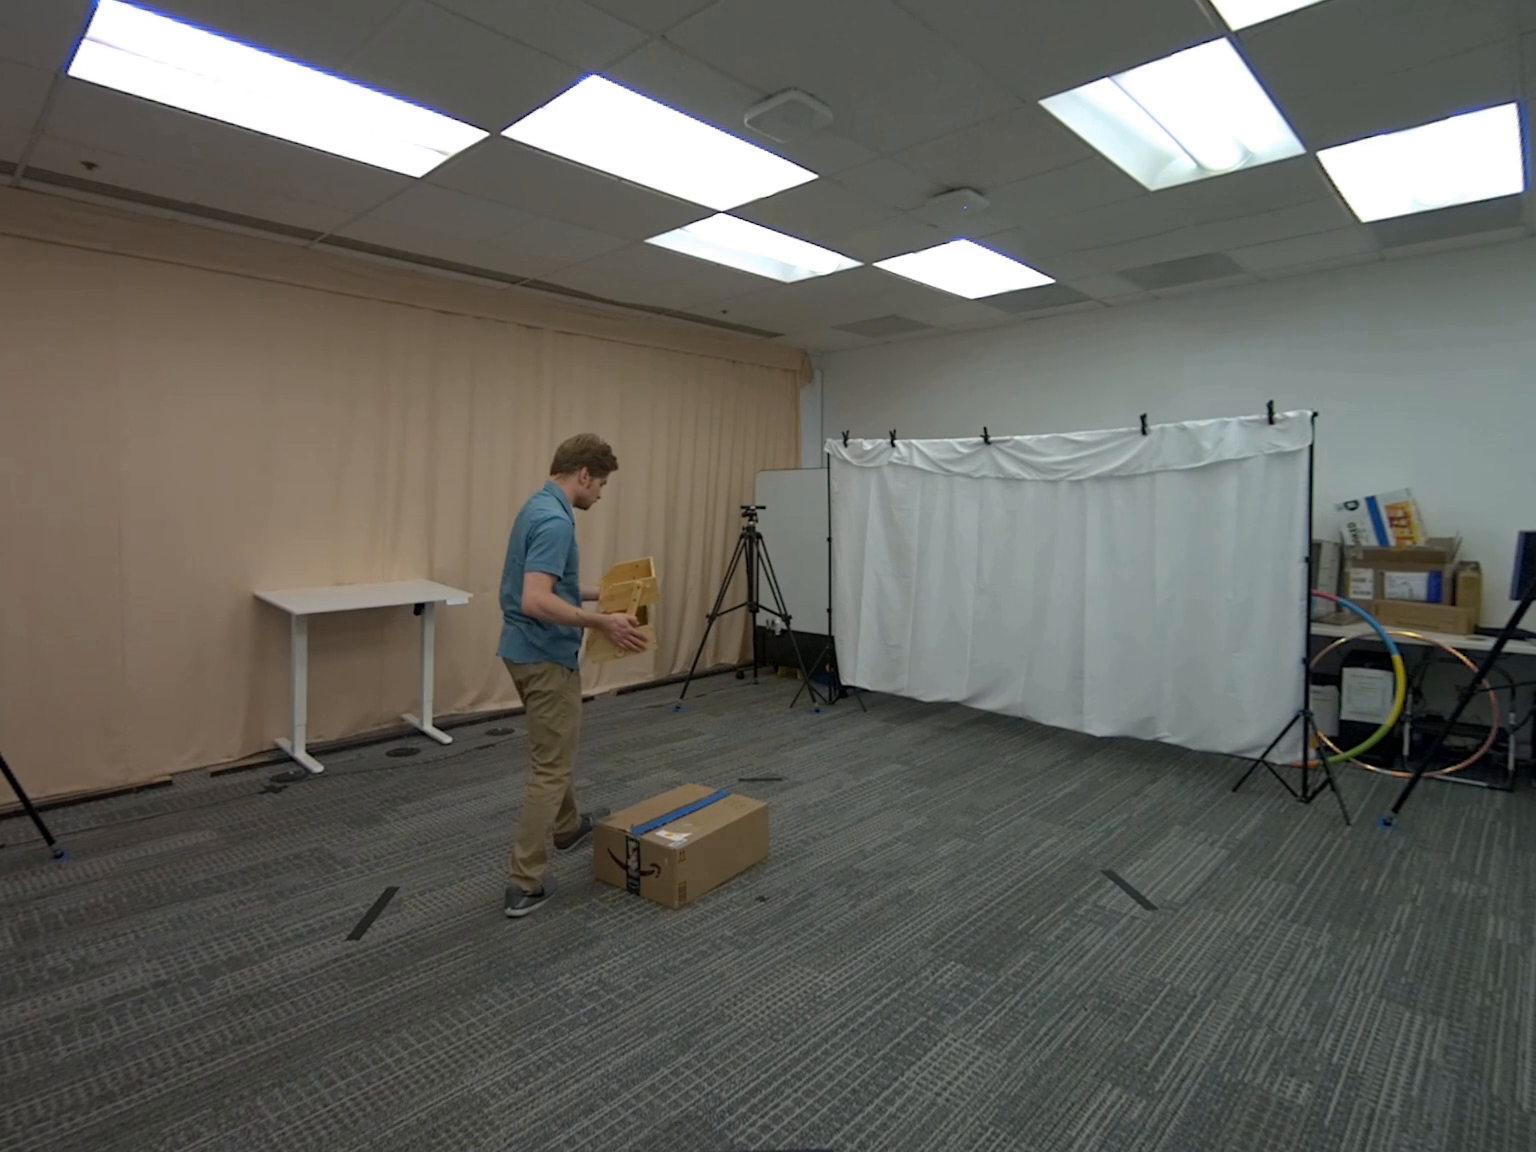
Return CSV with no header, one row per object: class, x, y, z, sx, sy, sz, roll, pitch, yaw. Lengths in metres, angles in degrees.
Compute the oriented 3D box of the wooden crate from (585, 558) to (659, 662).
wooden crate,-0.542,0.115,3.078,0.301,0.270,0.329,-13,15,-4
